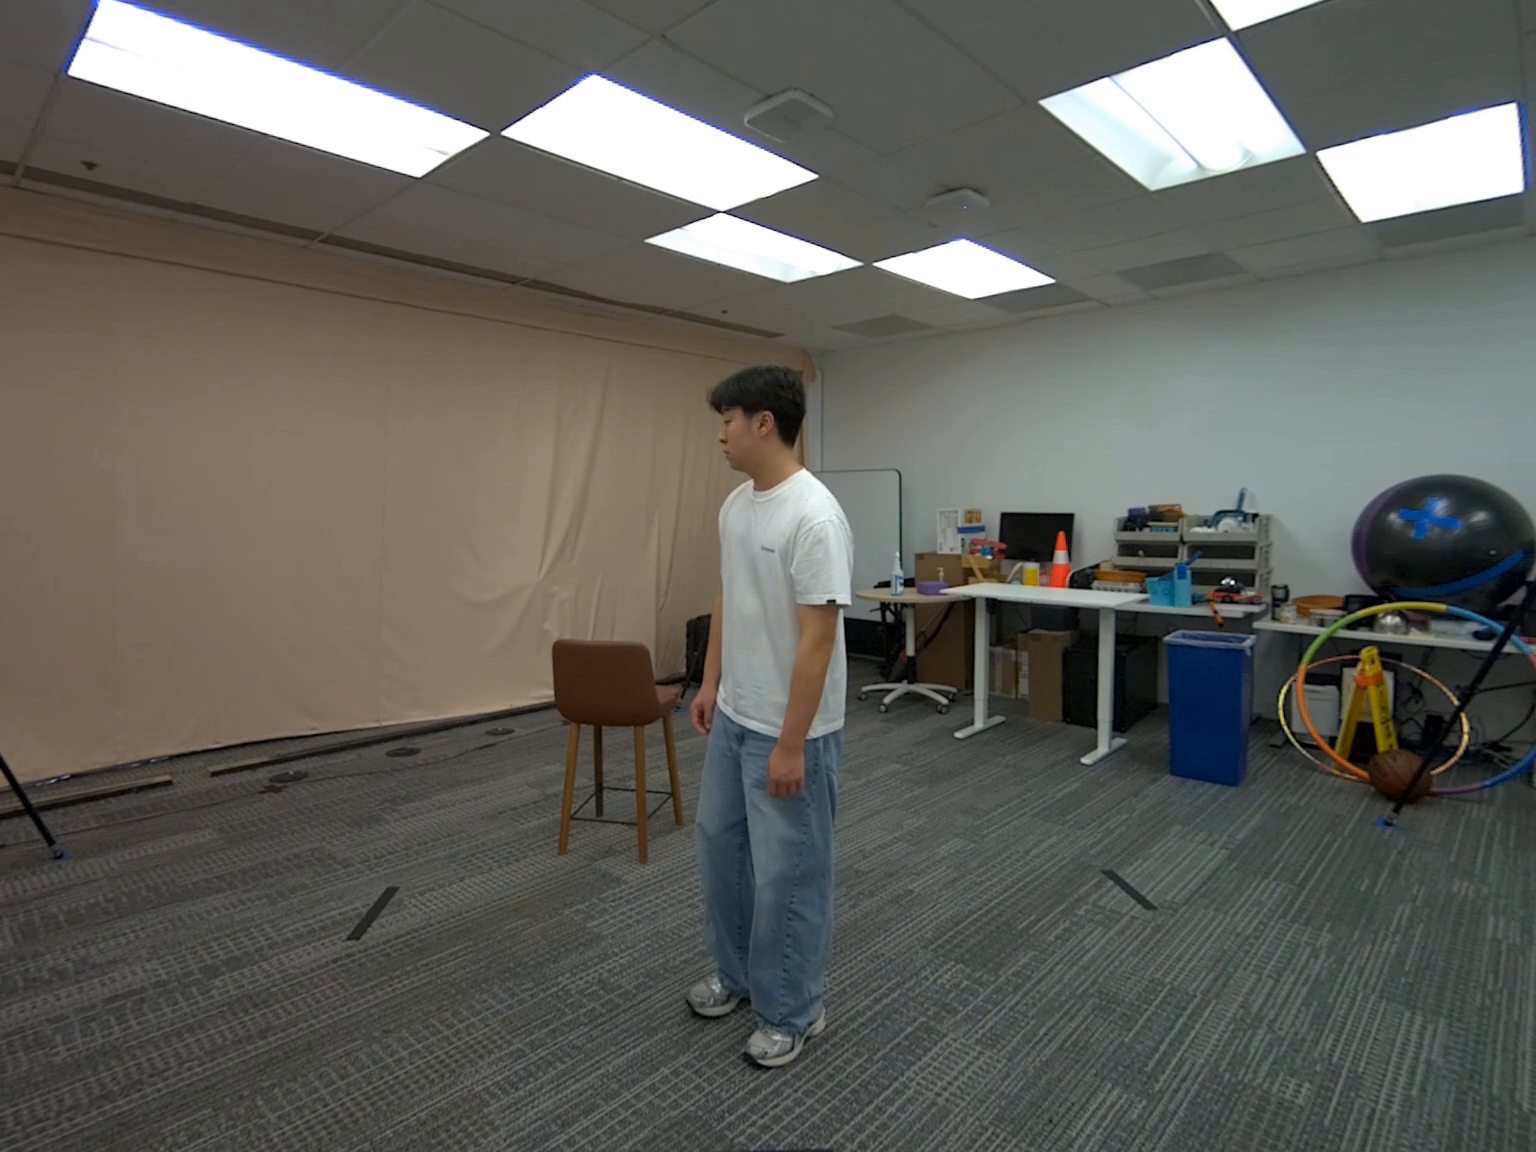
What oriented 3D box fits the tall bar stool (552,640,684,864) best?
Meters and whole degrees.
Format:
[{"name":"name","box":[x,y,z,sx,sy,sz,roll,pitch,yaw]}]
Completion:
[{"name":"tall bar stool","box":[-0.627,0.671,3.515,0.464,0.887,0.461,-1,5,14]}]
